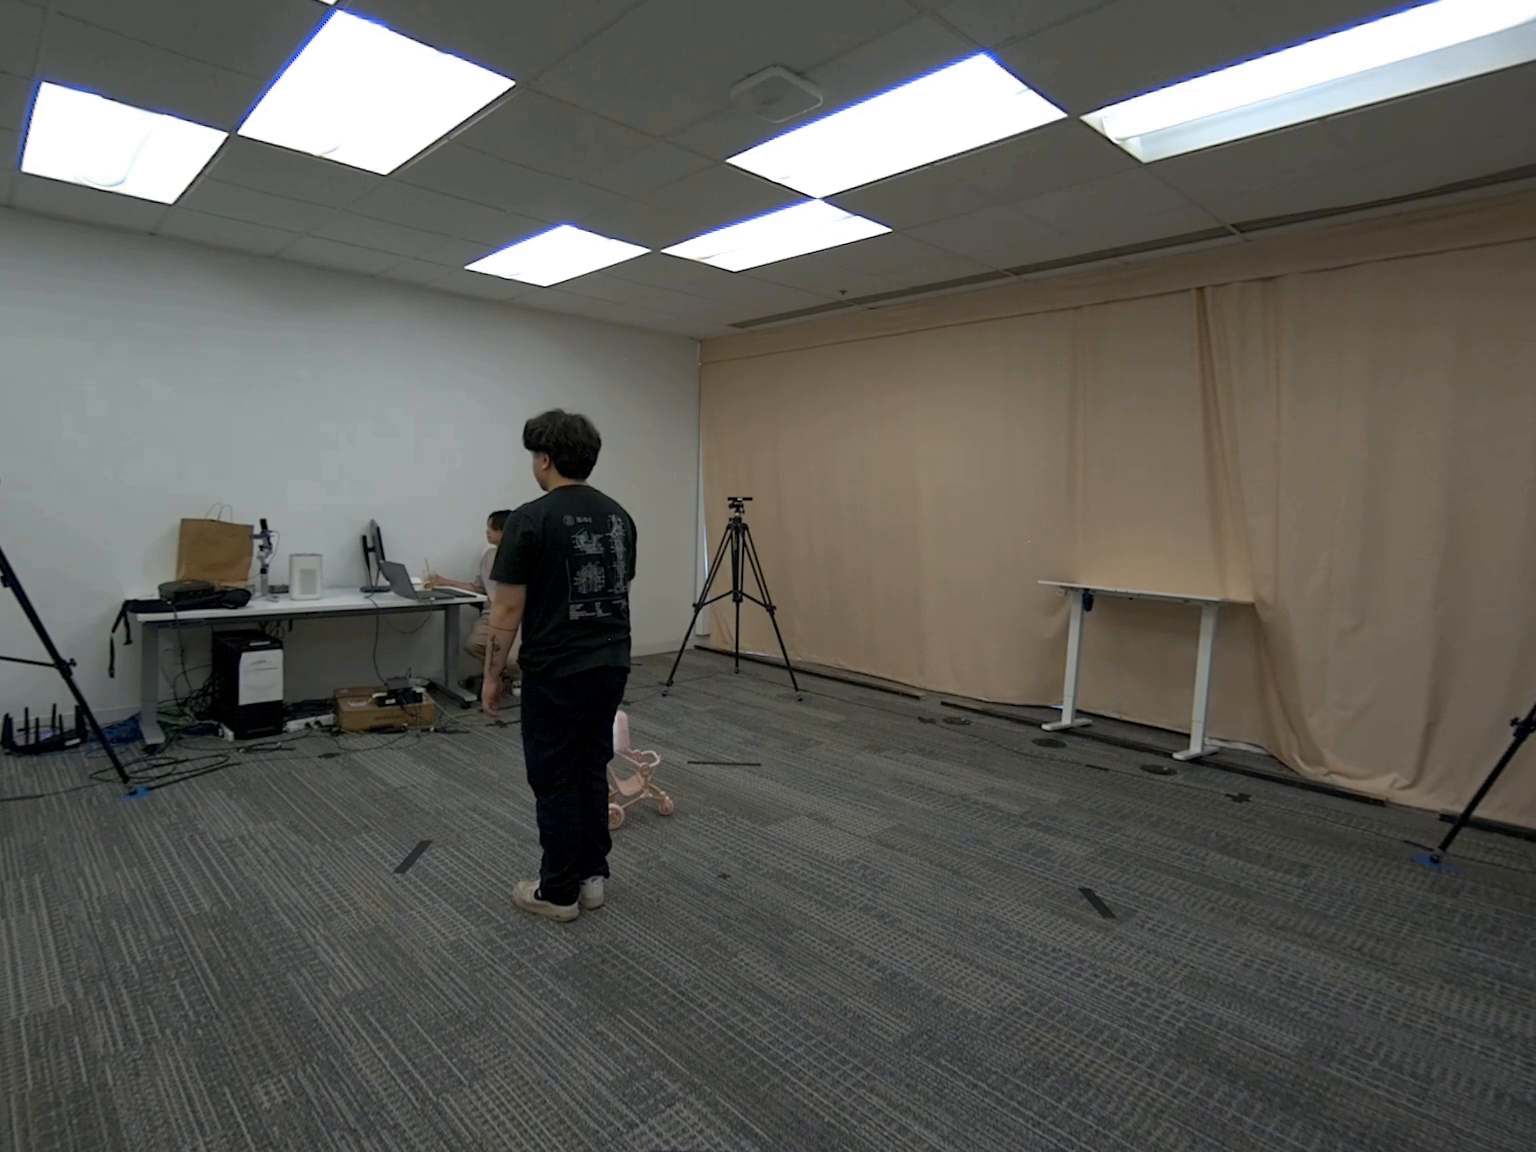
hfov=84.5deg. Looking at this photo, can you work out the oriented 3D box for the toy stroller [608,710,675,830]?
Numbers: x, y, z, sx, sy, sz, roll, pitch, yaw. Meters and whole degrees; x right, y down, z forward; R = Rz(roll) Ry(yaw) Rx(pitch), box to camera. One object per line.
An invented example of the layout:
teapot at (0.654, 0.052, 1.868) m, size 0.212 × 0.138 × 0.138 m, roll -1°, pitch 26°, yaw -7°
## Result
toy stroller at (-0.627, 0.824, 3.646) m, size 0.339 × 0.532 × 0.285 m, roll -14°, pitch 6°, yaw -11°
